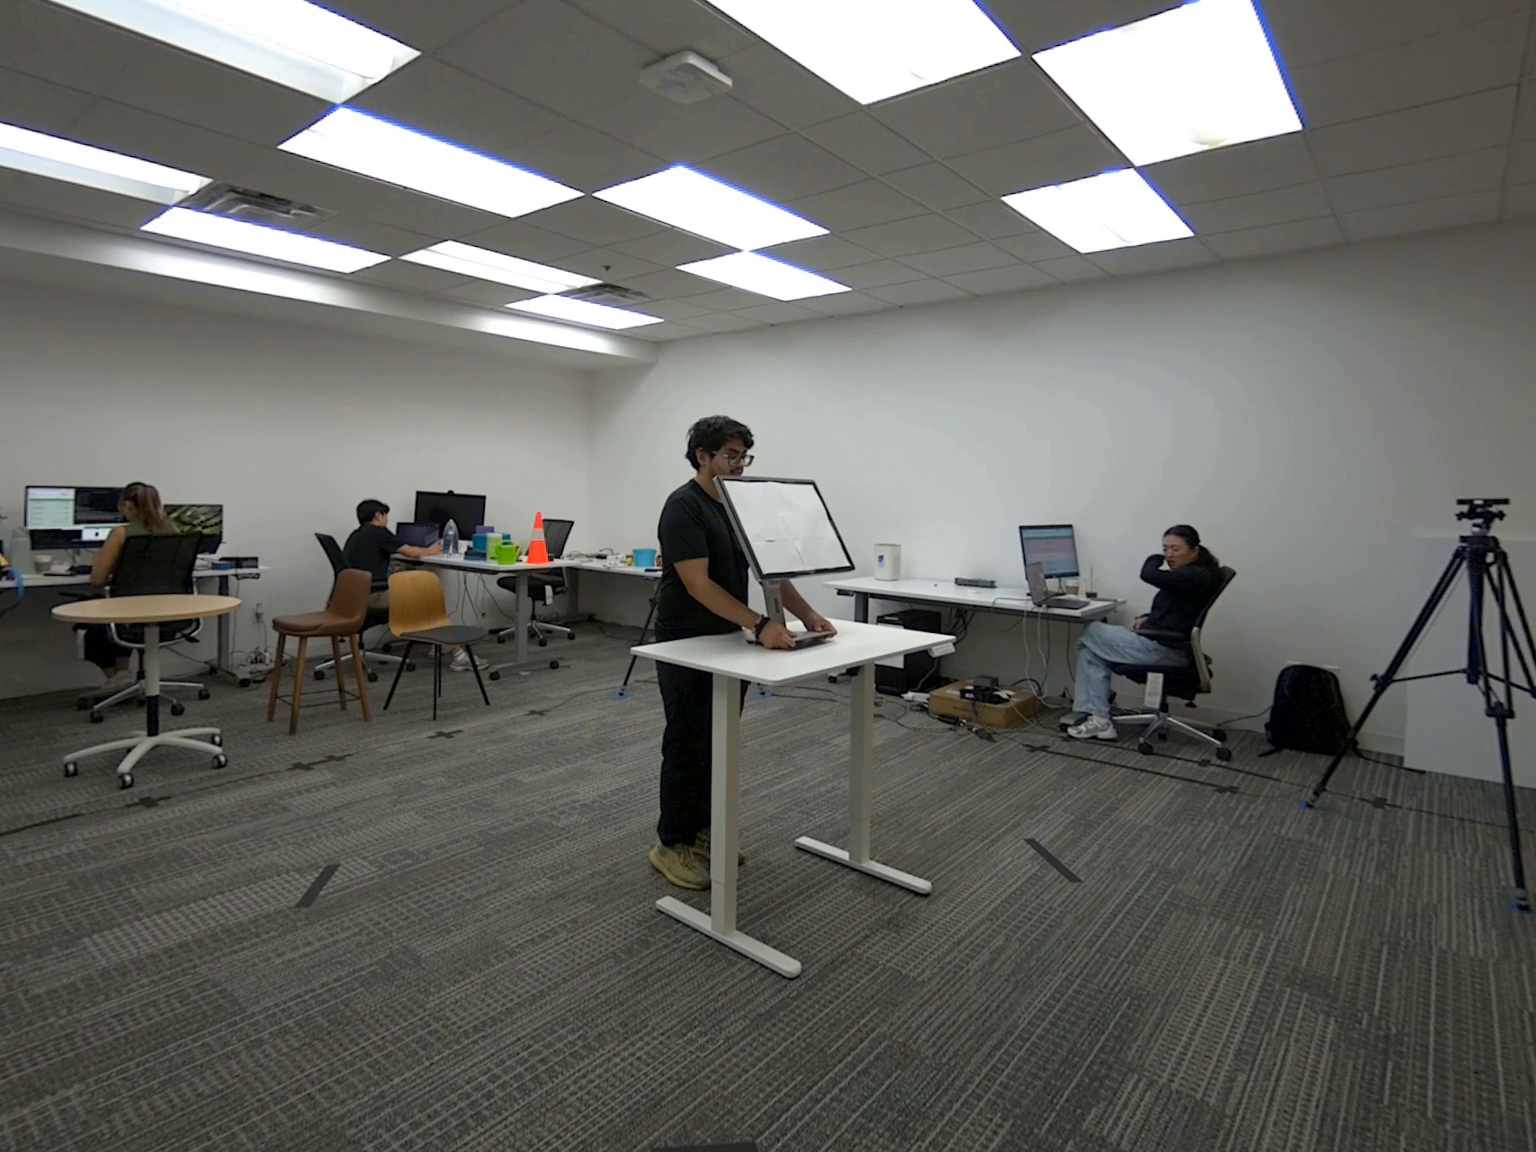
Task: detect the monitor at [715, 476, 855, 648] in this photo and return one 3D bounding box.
[{"bbox_3d":[0.025,-0.056,2.853,0.213,0.561,0.549,-24,-12,34],"label":"monitor"}]
